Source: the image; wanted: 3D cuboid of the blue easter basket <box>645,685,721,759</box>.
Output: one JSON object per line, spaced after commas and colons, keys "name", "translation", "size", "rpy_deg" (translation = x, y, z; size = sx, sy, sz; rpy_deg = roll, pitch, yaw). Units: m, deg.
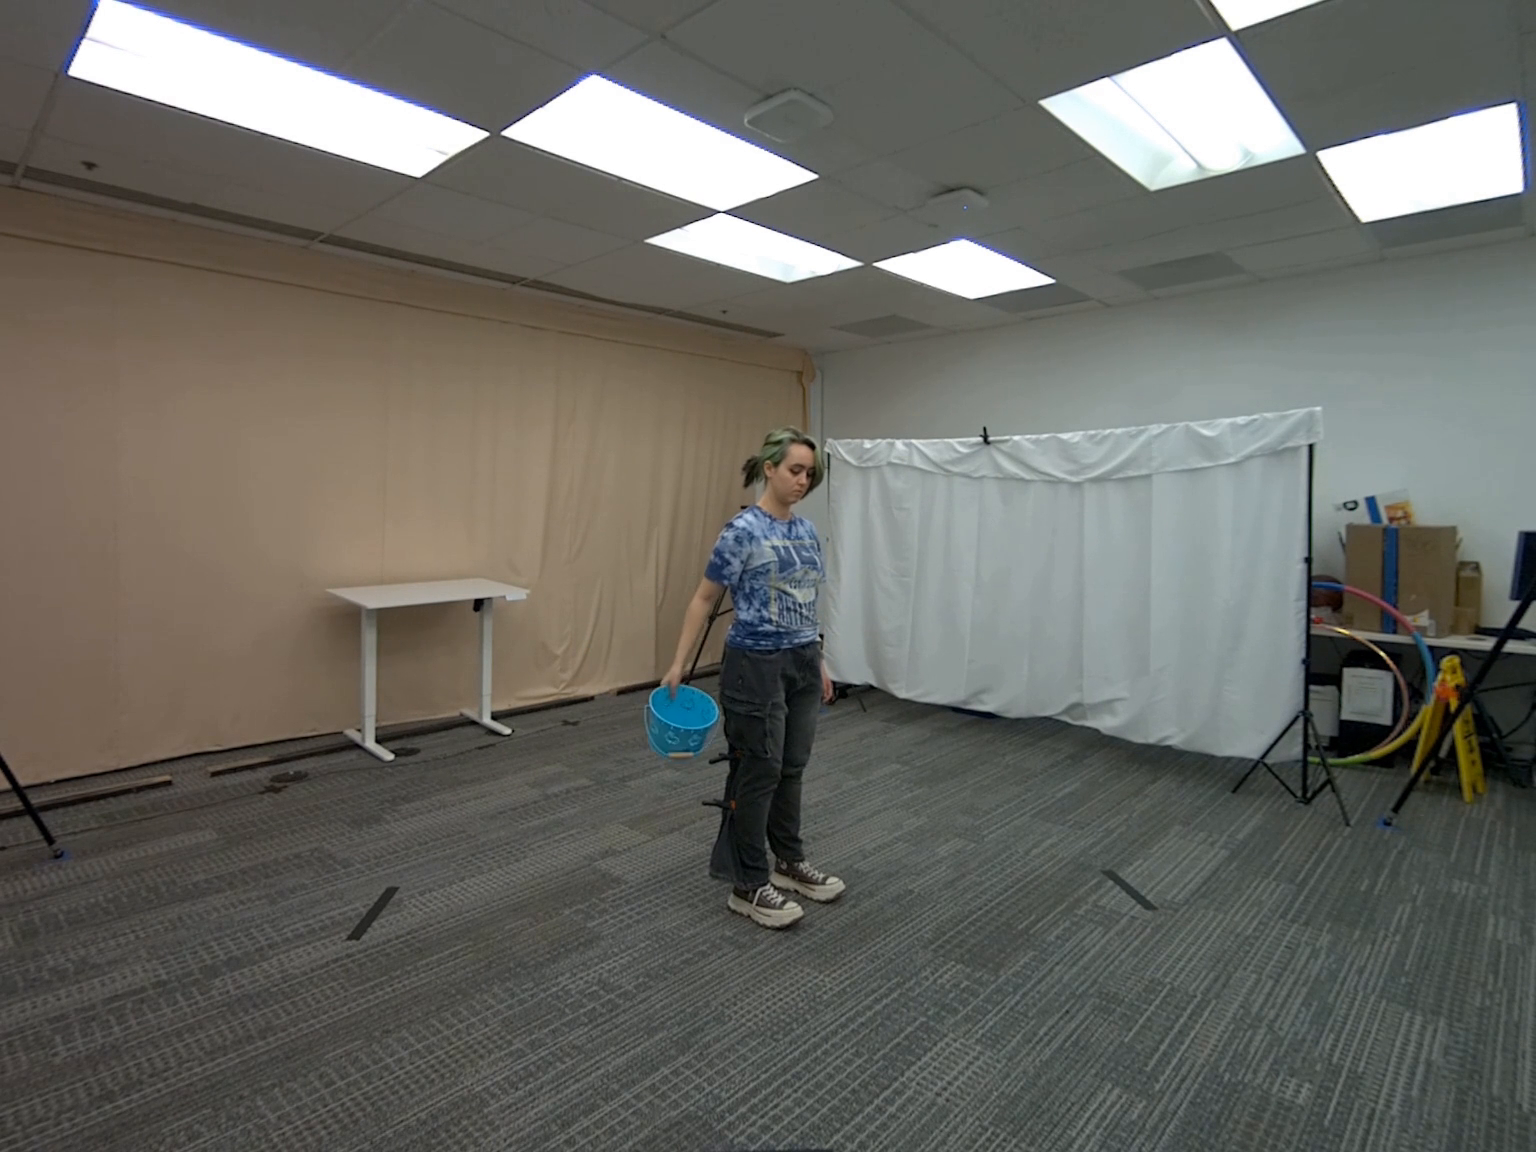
{"name": "blue easter basket", "translation": [-0.289, 0.481, 2.755], "size": [0.242, 0.154, 0.247], "rpy_deg": [9, 23, -6]}
